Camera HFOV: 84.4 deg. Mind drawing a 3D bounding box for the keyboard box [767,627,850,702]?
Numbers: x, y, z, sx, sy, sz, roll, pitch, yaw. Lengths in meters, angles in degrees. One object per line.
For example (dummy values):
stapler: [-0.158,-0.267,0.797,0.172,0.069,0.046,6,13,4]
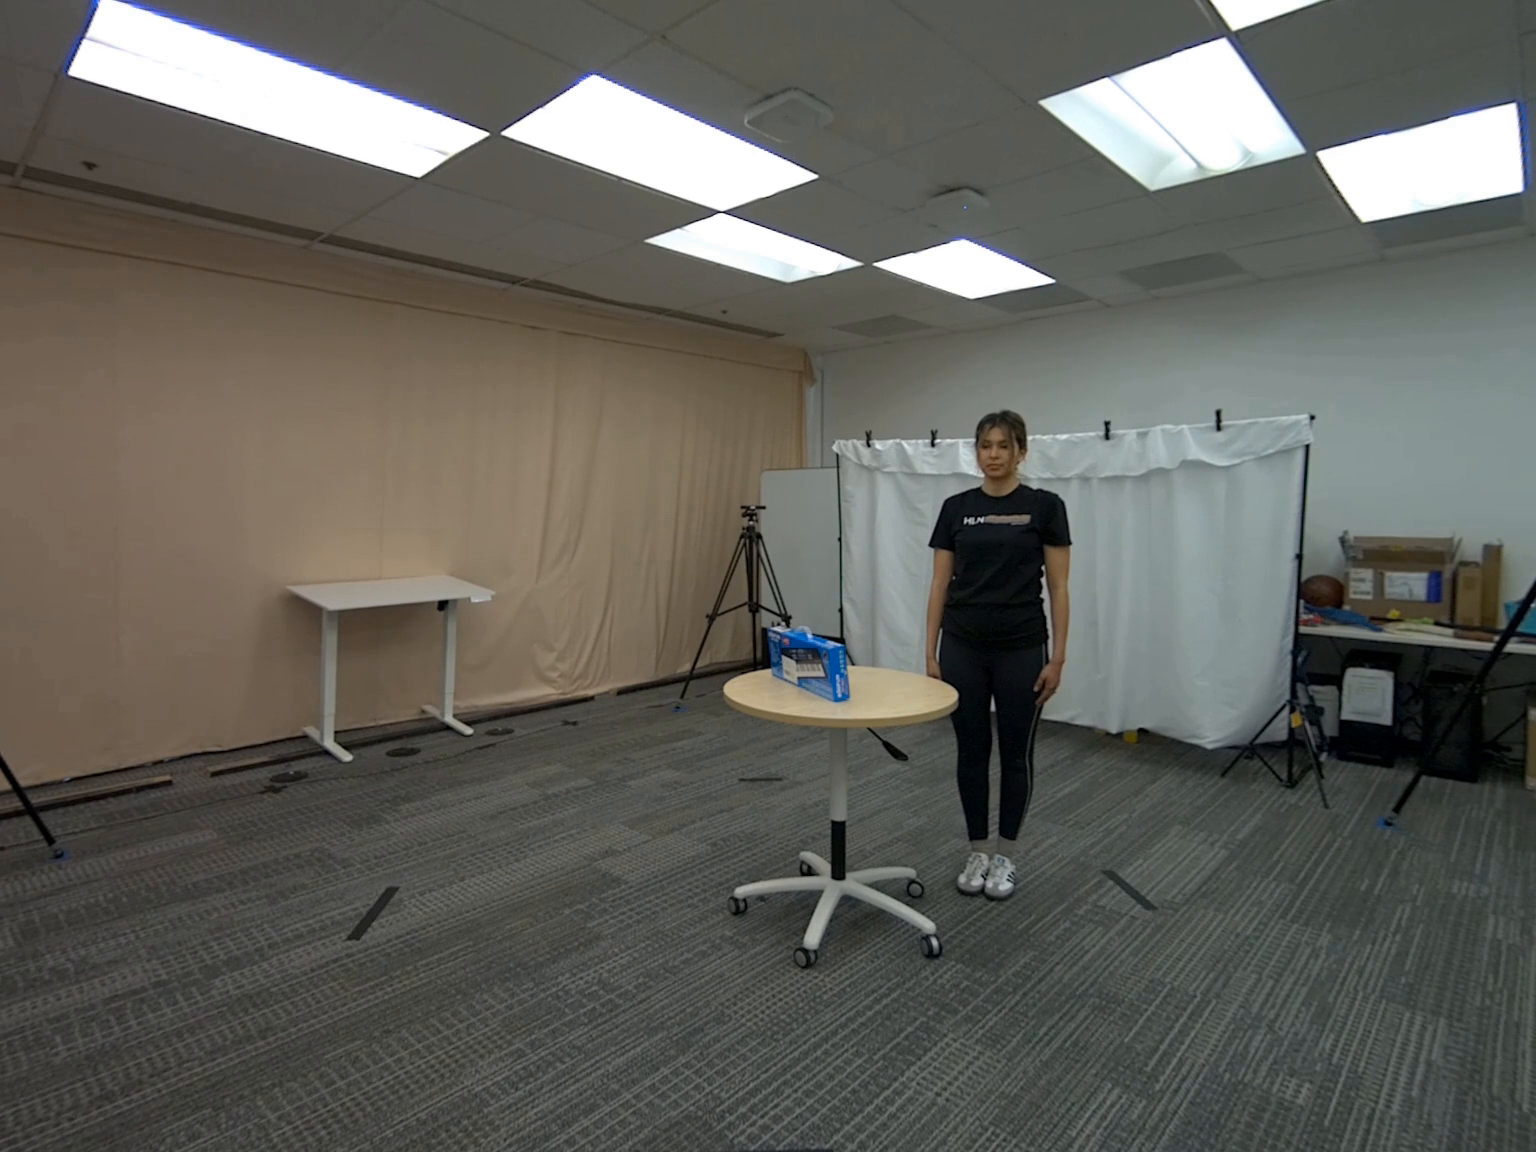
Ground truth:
keyboard box: [0.132,0.288,2.811,0.058,0.175,0.448,-7,8,-25]
